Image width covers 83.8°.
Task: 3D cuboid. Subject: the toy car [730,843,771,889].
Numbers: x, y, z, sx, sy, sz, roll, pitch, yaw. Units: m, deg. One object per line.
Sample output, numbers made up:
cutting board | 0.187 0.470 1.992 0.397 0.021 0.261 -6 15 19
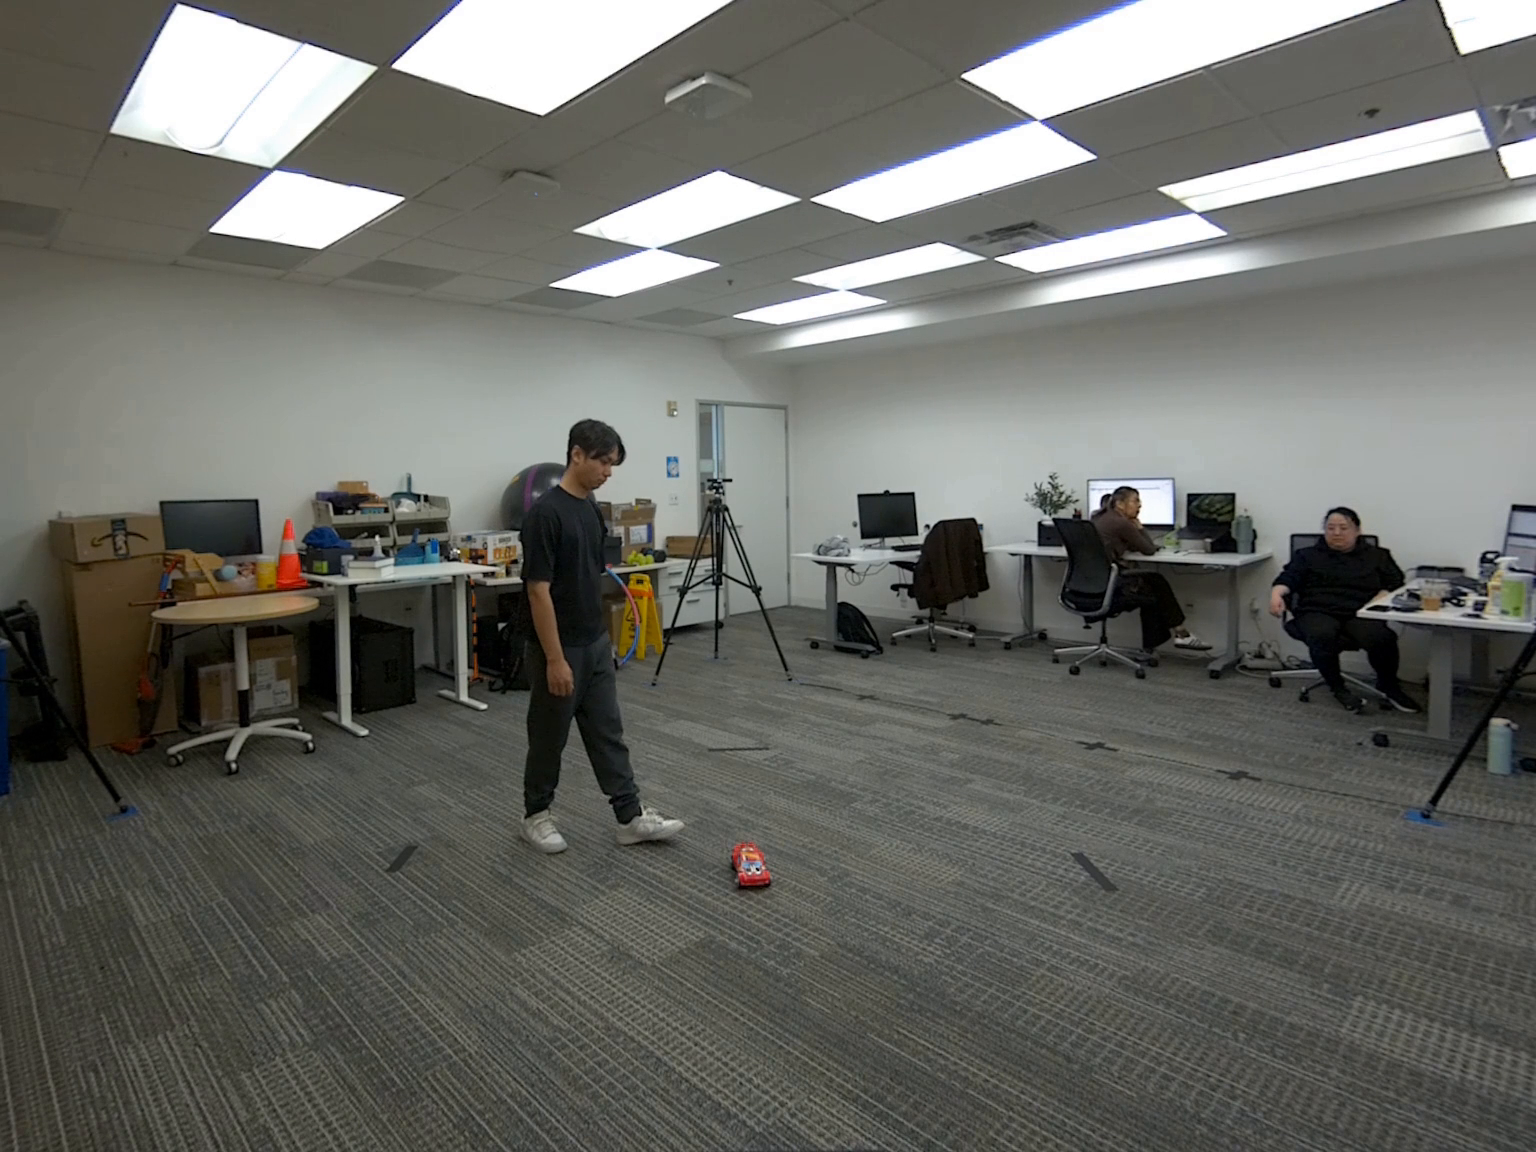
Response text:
toy car | -0.065 1.024 3.021 0.129 0.082 0.260 -1 17 -8
